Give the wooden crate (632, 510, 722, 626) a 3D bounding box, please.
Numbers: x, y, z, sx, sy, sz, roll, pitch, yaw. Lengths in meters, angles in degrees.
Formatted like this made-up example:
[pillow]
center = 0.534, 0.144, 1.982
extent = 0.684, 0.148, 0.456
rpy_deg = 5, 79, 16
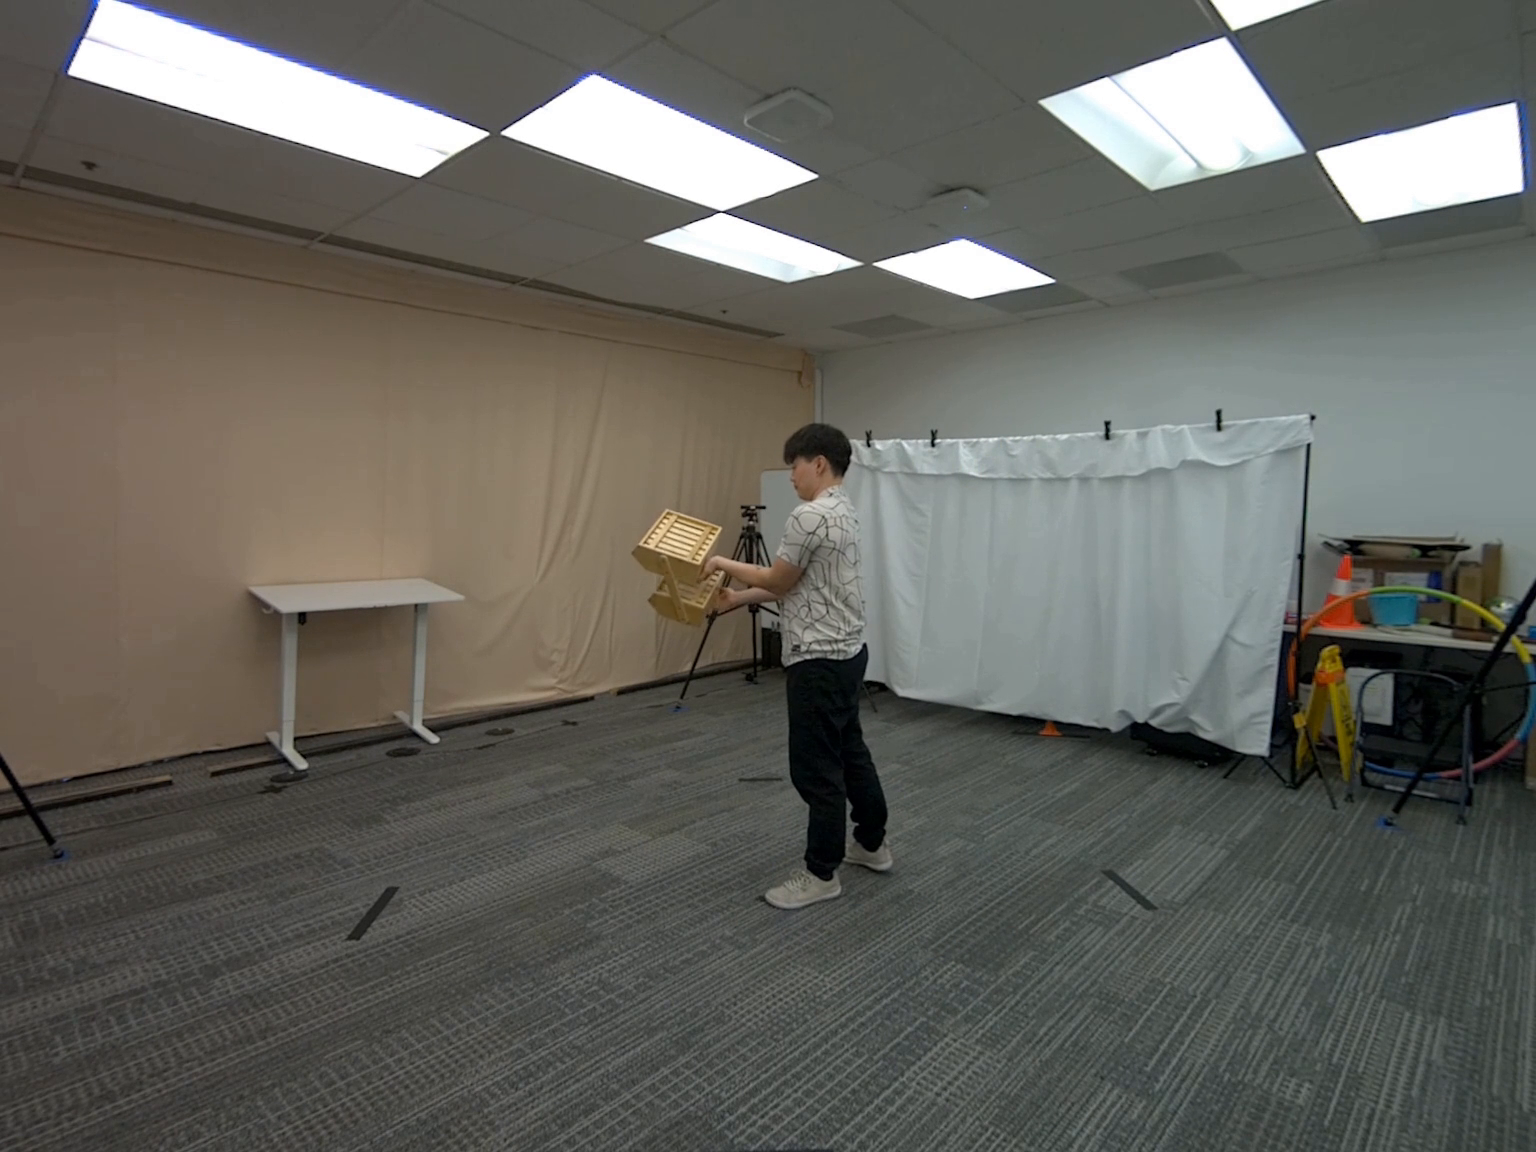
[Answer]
[wooden crate]
center = -0.323, -0.029, 3.125
extent = 0.305, 0.271, 0.324
rpy_deg = 18, 31, 7
